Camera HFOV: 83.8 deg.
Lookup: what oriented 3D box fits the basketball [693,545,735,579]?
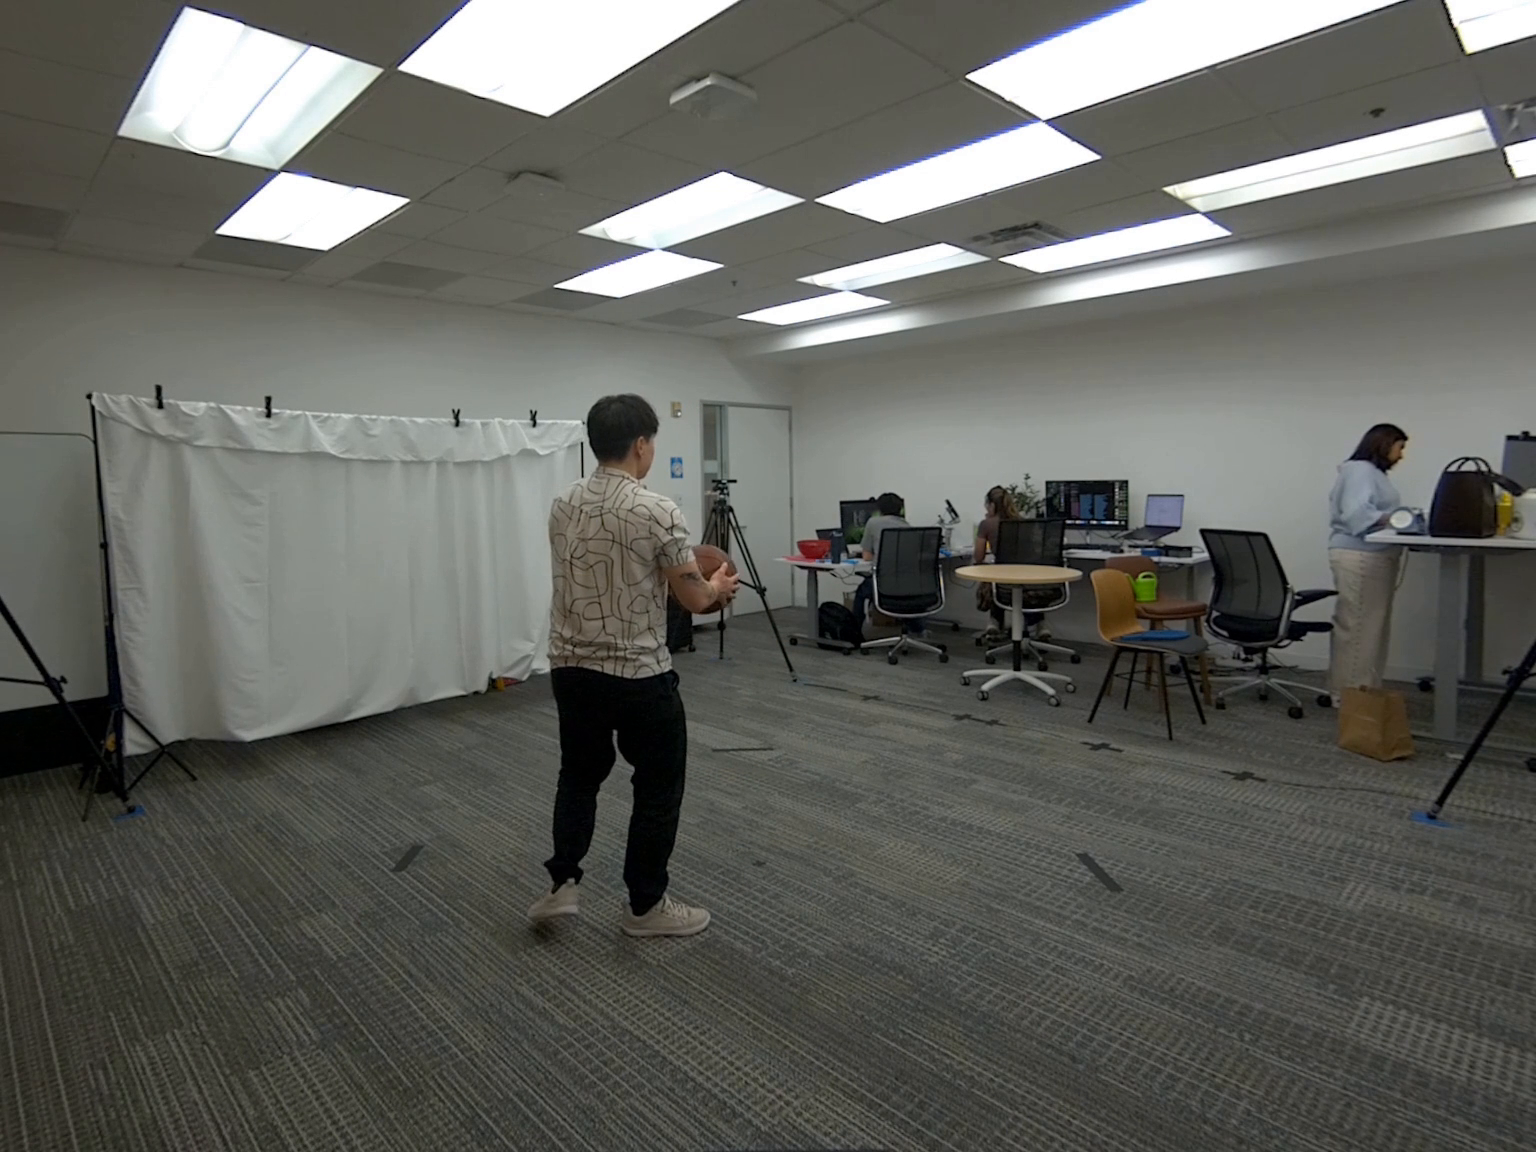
[{"bbox_3d":[-0.211,0.012,2.907,0.236,0.235,0.237,-1,5,-2],"label":"basketball"}]
